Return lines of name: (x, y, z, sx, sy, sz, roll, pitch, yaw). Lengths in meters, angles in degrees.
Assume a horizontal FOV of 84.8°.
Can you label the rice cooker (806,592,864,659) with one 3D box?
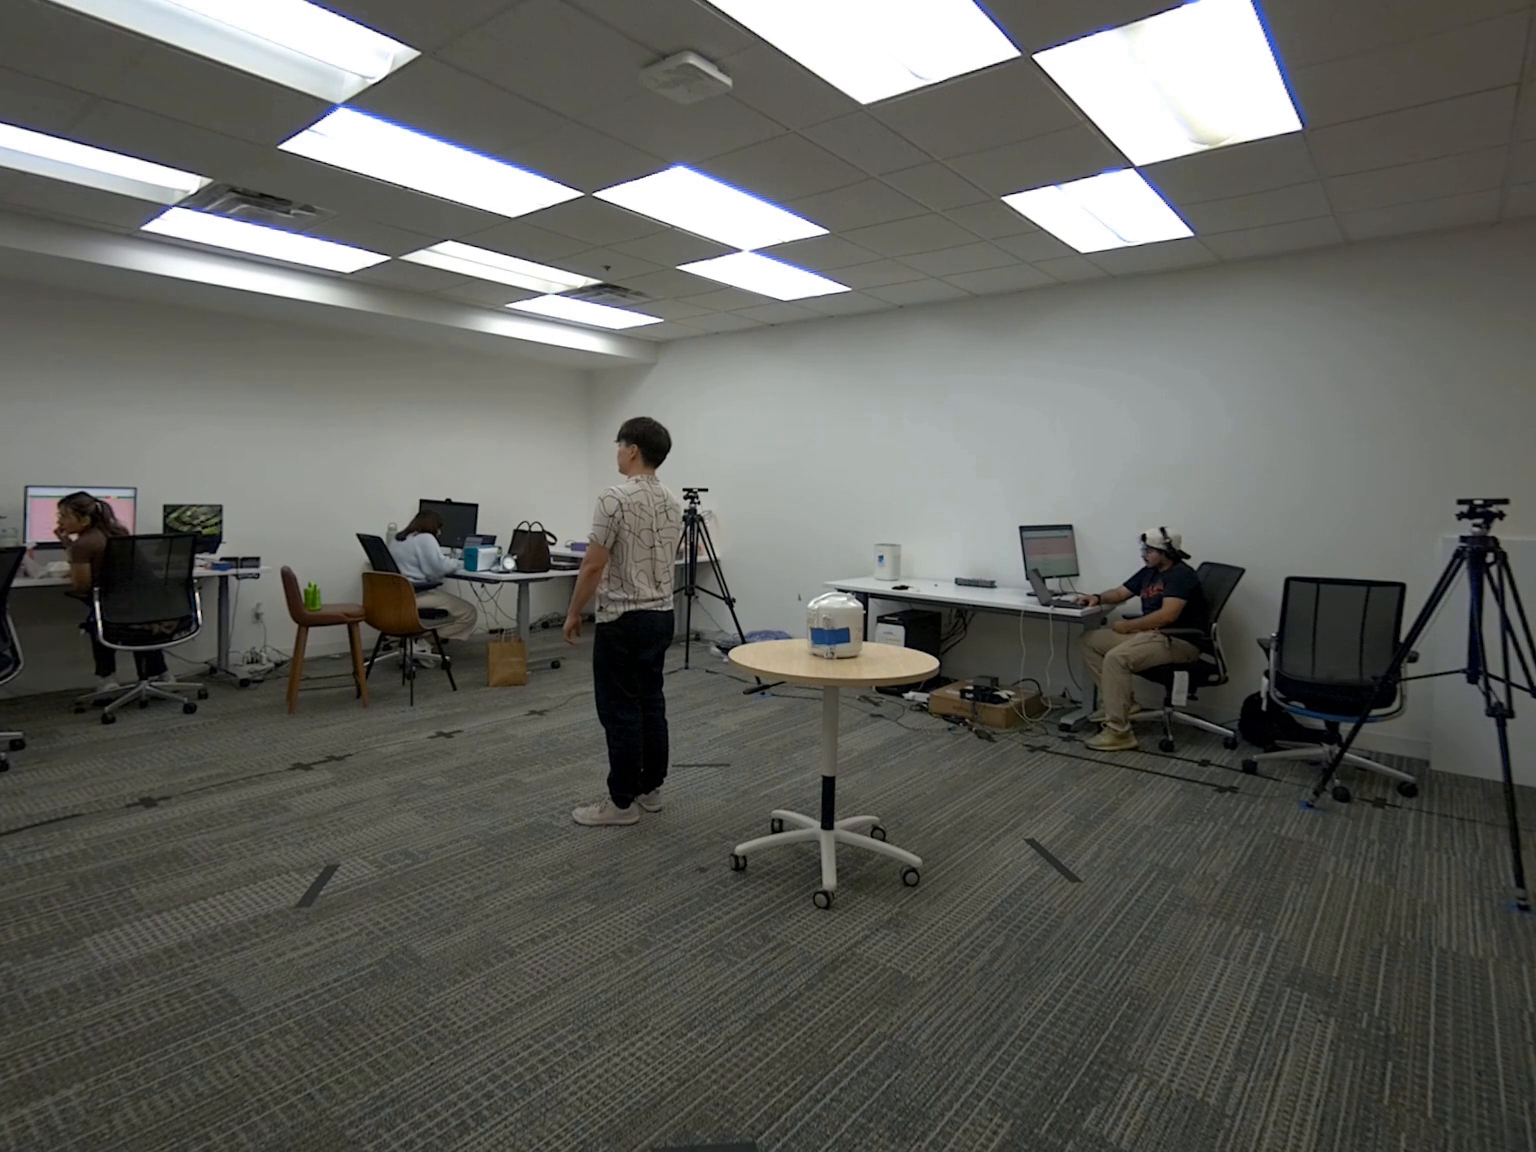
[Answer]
rice cooker: (0.239, 0.173, 3.171, 0.215, 0.232, 0.223, 0, 5, -26)
